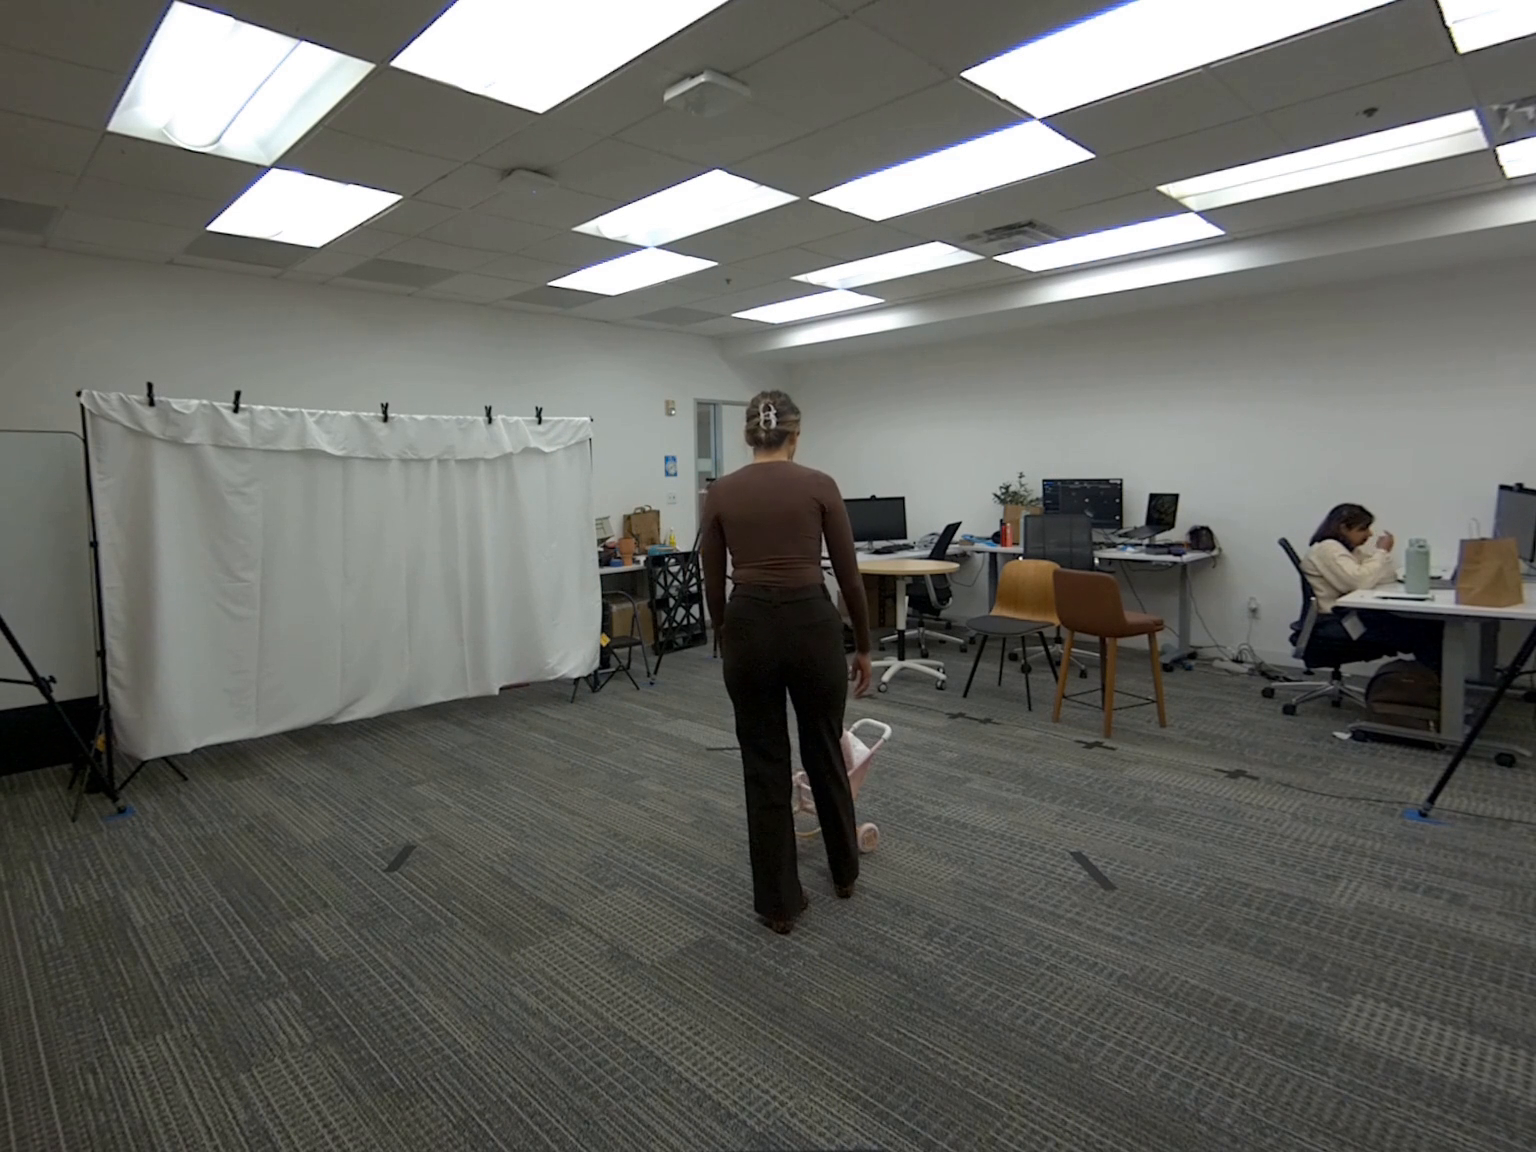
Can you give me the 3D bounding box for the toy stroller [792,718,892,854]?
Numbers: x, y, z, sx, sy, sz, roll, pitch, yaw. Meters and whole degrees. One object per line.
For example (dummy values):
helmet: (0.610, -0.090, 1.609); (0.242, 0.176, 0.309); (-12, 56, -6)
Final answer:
toy stroller: (0.248, 0.794, 3.244); (0.332, 0.536, 0.288); (13, -2, -25)
